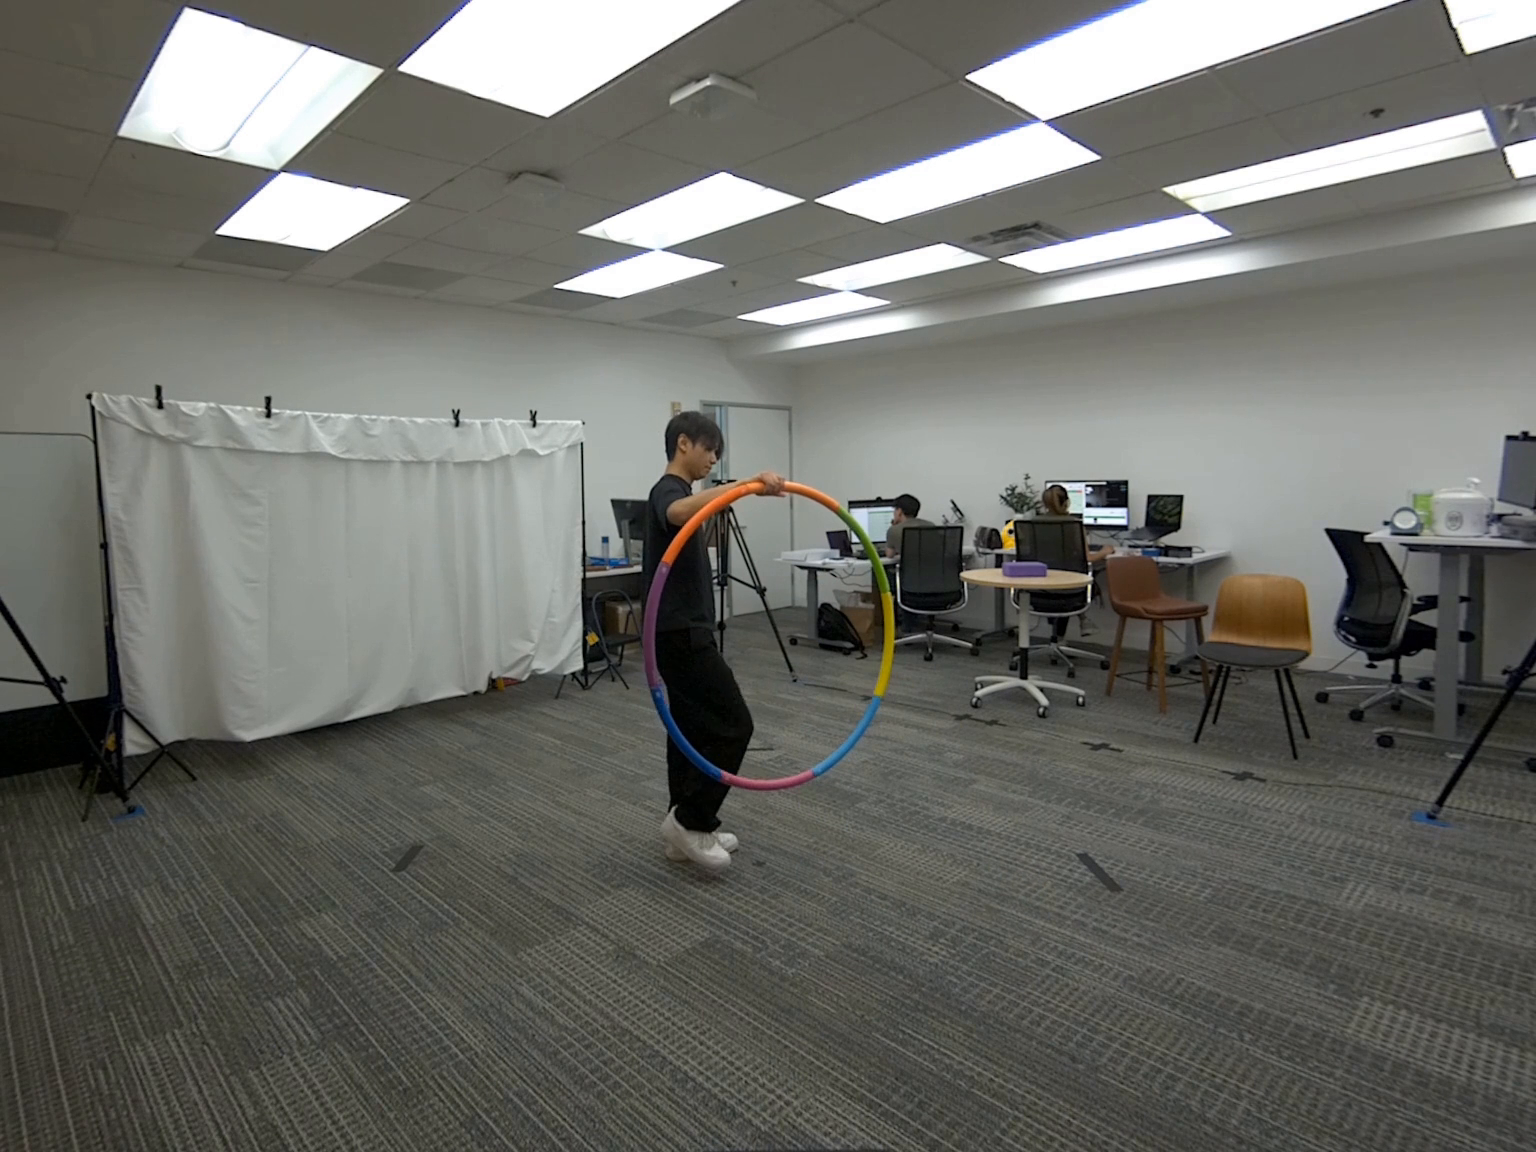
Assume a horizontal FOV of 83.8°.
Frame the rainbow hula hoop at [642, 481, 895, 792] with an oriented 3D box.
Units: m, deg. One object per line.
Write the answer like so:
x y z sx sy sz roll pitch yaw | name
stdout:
0.030 0.186 2.777 0.955 0.978 0.036 -4 1 -32 | rainbow hula hoop
